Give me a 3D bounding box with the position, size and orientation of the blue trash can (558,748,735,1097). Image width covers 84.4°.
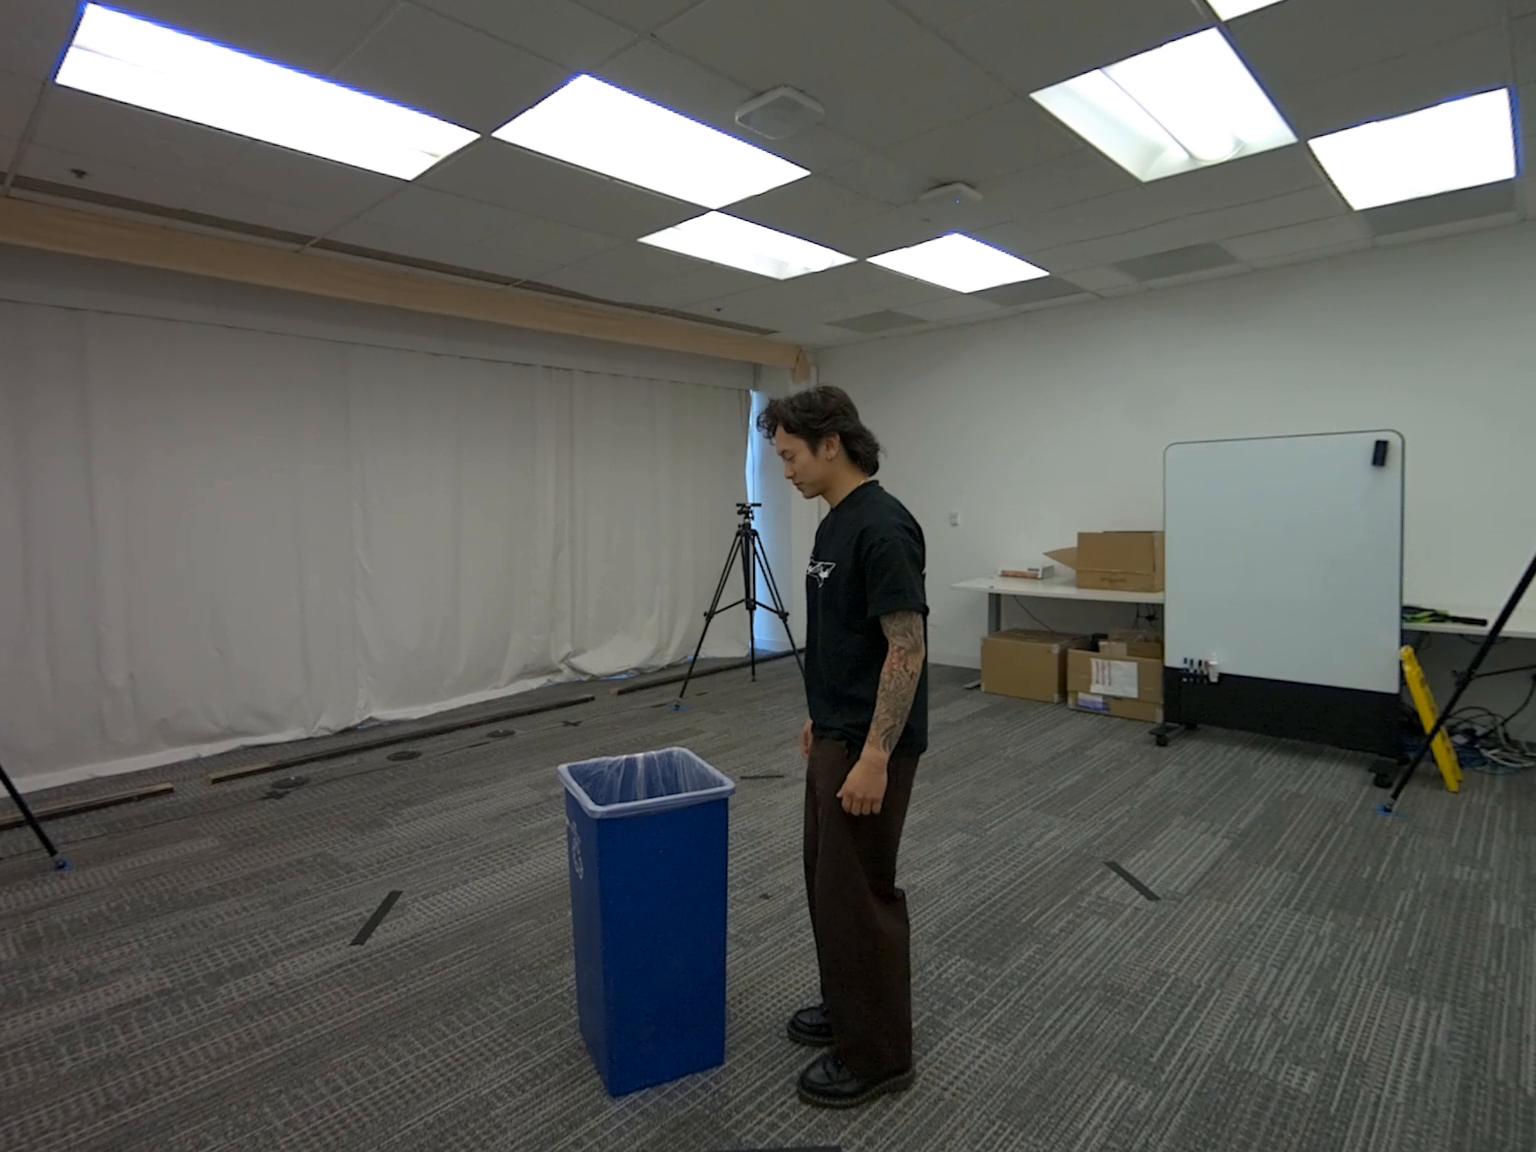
[{"bbox_3d":[-0.299,0.859,2.146,0.369,0.712,0.384,-3,4,-27],"label":"blue trash can"}]
